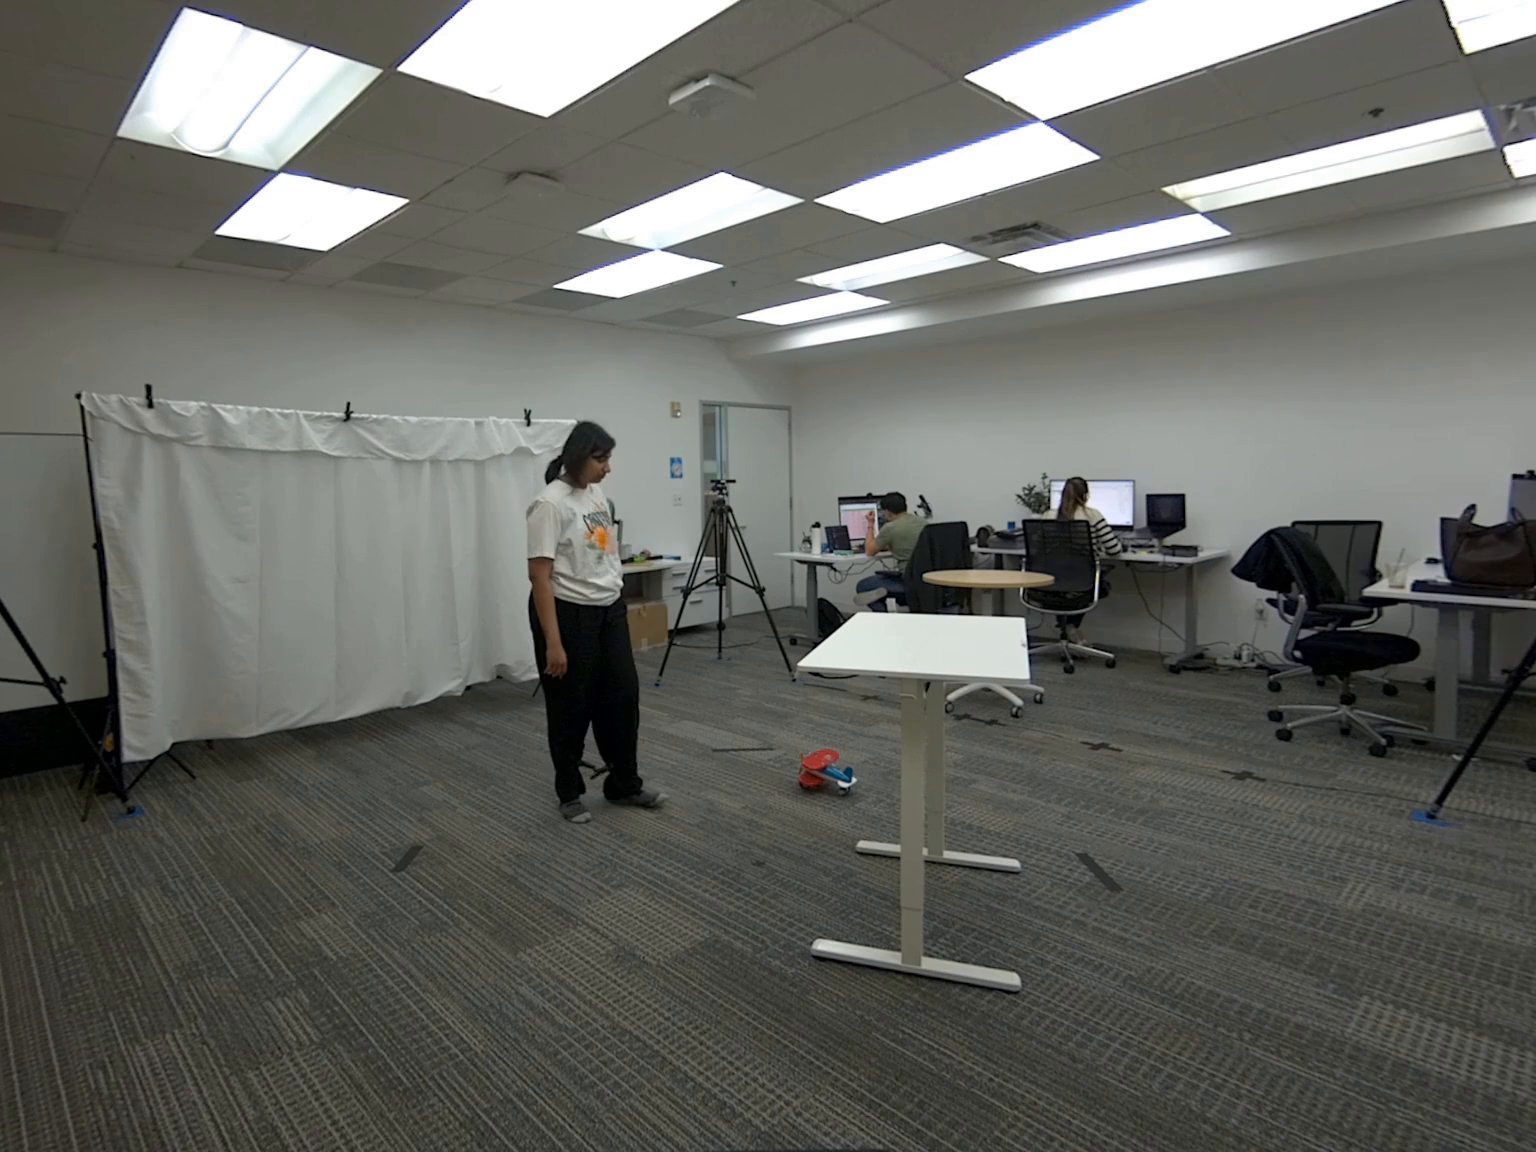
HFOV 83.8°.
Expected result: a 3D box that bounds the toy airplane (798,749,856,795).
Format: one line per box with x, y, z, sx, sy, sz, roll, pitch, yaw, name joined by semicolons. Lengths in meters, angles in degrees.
0.264;0.876;3.841;0.261;0.156;0.250;0;4;7;toy airplane
